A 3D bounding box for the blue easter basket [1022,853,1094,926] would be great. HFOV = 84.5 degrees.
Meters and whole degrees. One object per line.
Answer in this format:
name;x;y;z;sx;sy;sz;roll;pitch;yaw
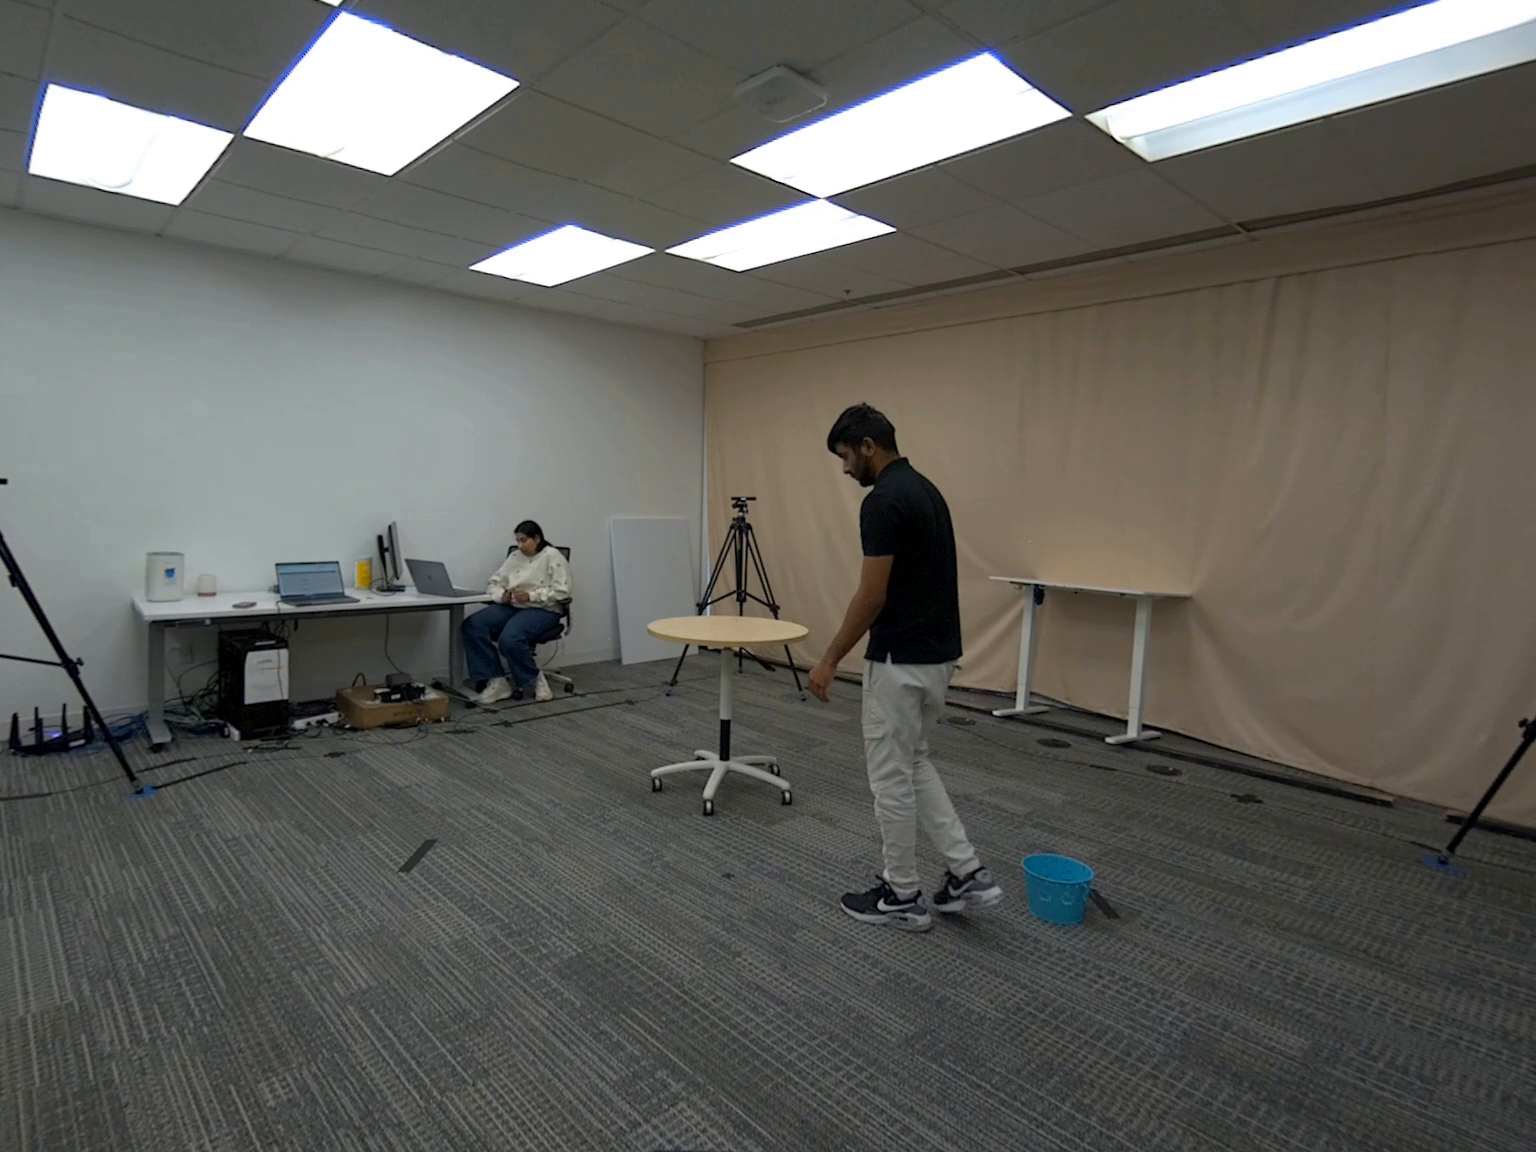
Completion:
blue easter basket;0.986;1.075;2.897;0.243;0.155;0.244;2;4;-1
